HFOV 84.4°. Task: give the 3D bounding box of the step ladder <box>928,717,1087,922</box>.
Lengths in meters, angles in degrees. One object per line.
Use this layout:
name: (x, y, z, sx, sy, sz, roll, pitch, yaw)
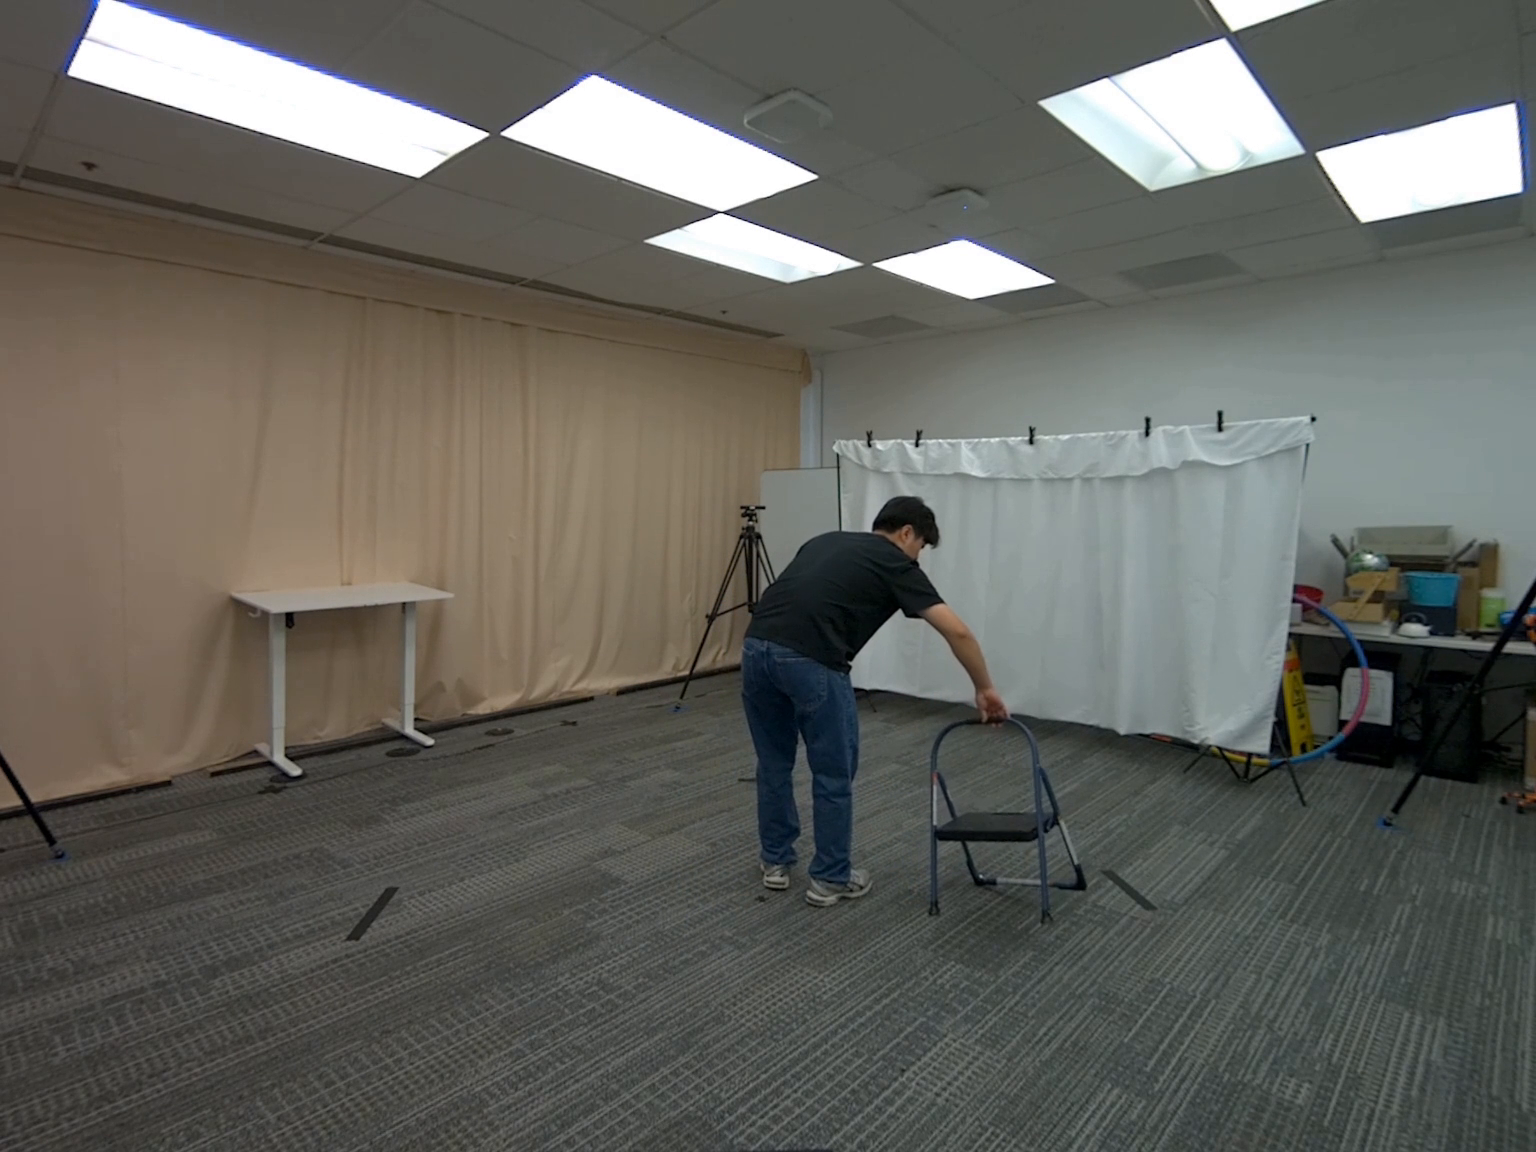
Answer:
step ladder: (0.774, 0.810, 2.887, 0.442, 0.609, 0.338, -15, -9, 40)
